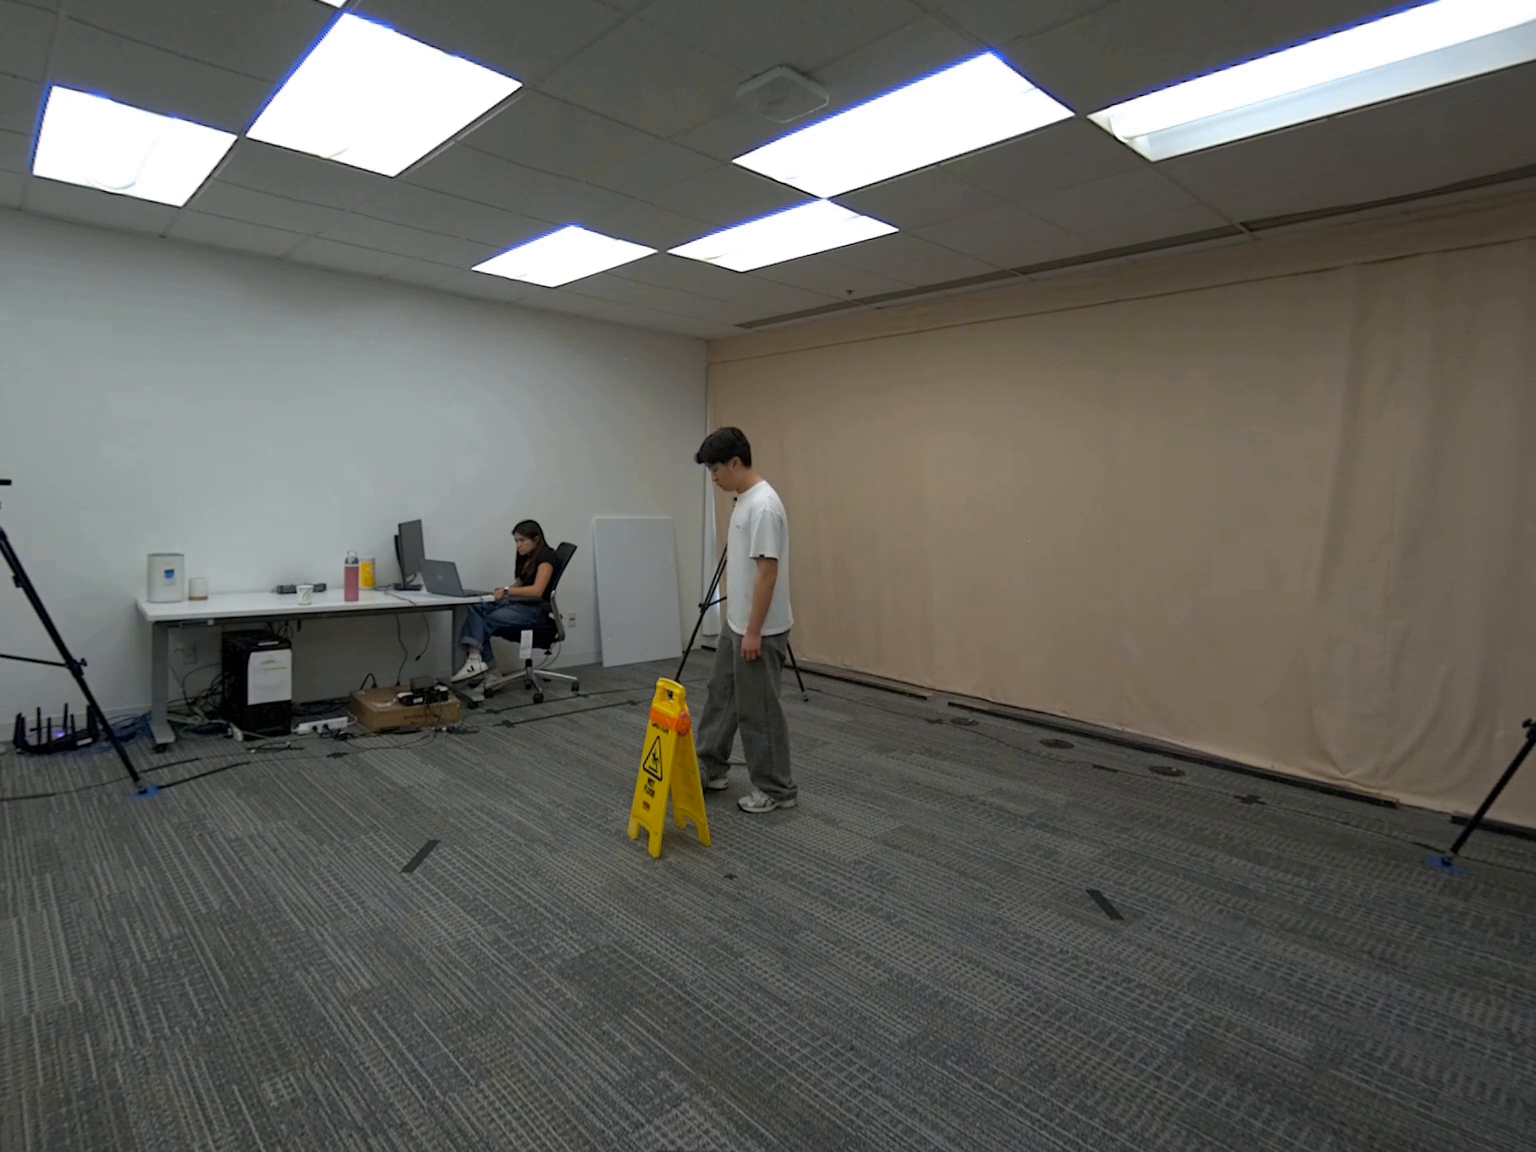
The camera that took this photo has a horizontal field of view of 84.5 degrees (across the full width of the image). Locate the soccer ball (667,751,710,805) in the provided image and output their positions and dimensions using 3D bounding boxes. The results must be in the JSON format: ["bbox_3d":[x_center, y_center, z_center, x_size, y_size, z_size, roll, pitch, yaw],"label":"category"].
[{"bbox_3d":[-0.367,0.936,3.941,0.187,0.187,0.188,1,4,-1],"label":"soccer ball"}]
